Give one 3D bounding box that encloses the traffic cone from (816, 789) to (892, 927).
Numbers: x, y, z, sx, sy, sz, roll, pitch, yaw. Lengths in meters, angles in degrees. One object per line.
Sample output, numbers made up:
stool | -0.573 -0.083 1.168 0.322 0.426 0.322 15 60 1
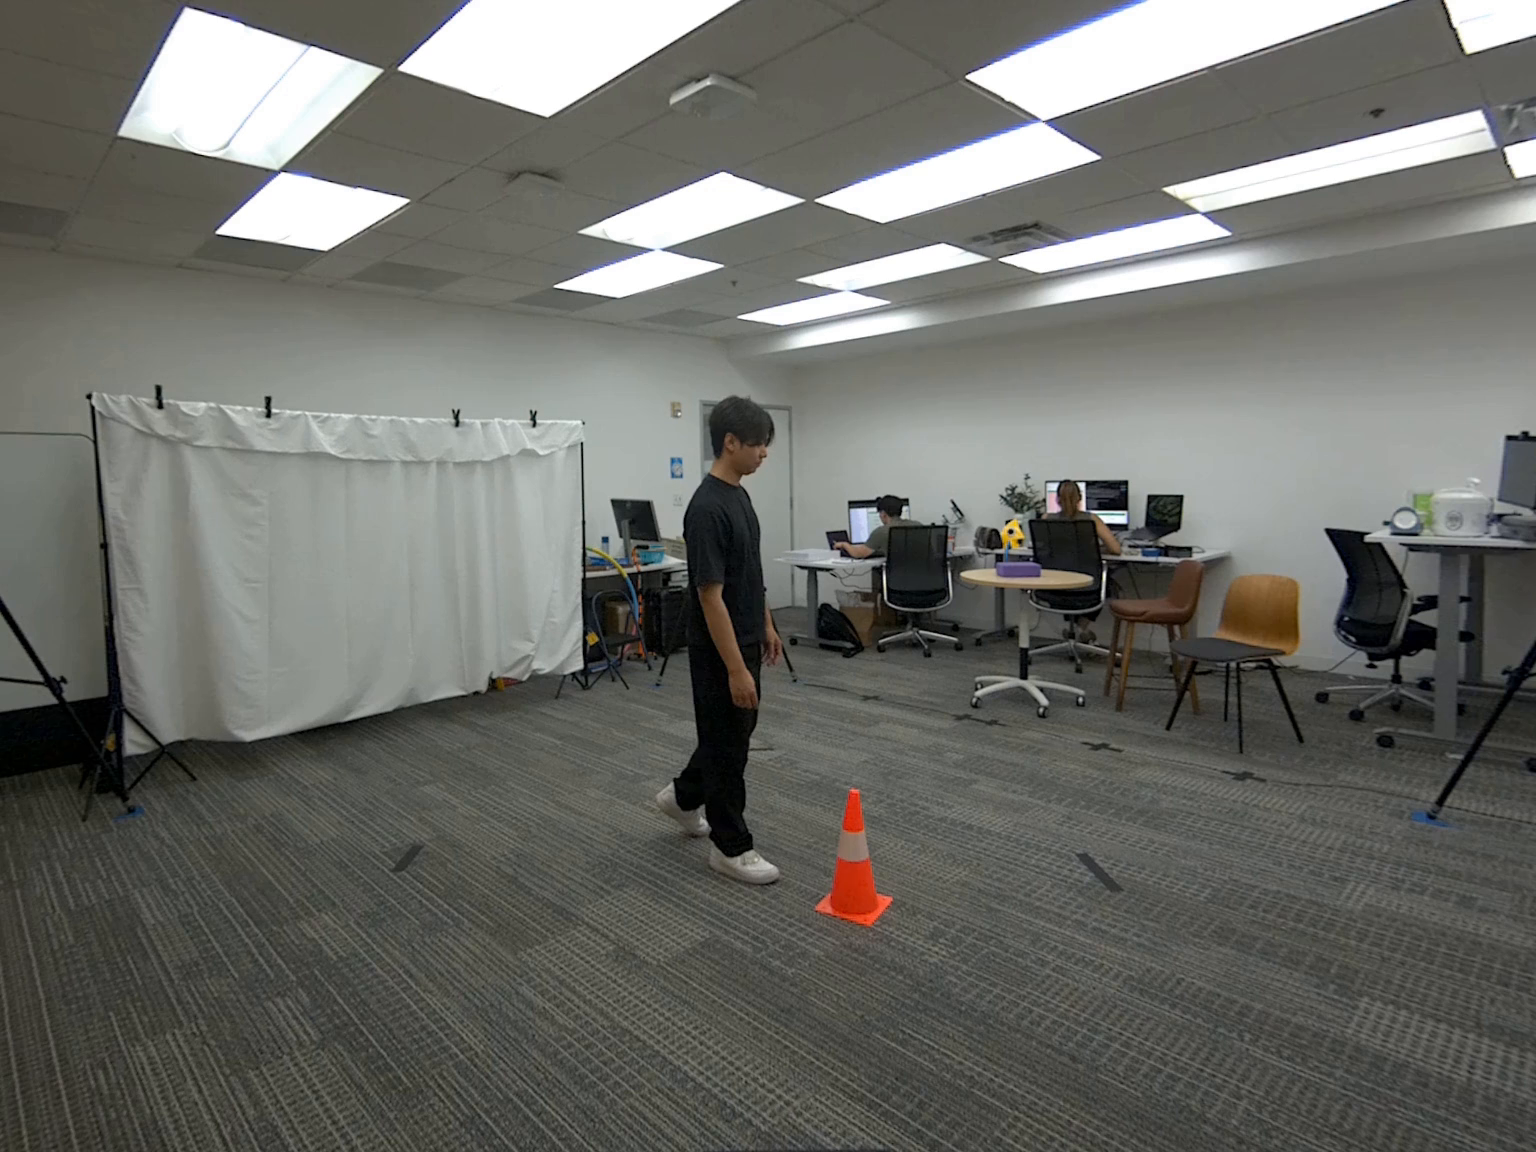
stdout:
traffic cone | 0.288 0.894 2.783 0.211 0.382 0.198 3 6 36
